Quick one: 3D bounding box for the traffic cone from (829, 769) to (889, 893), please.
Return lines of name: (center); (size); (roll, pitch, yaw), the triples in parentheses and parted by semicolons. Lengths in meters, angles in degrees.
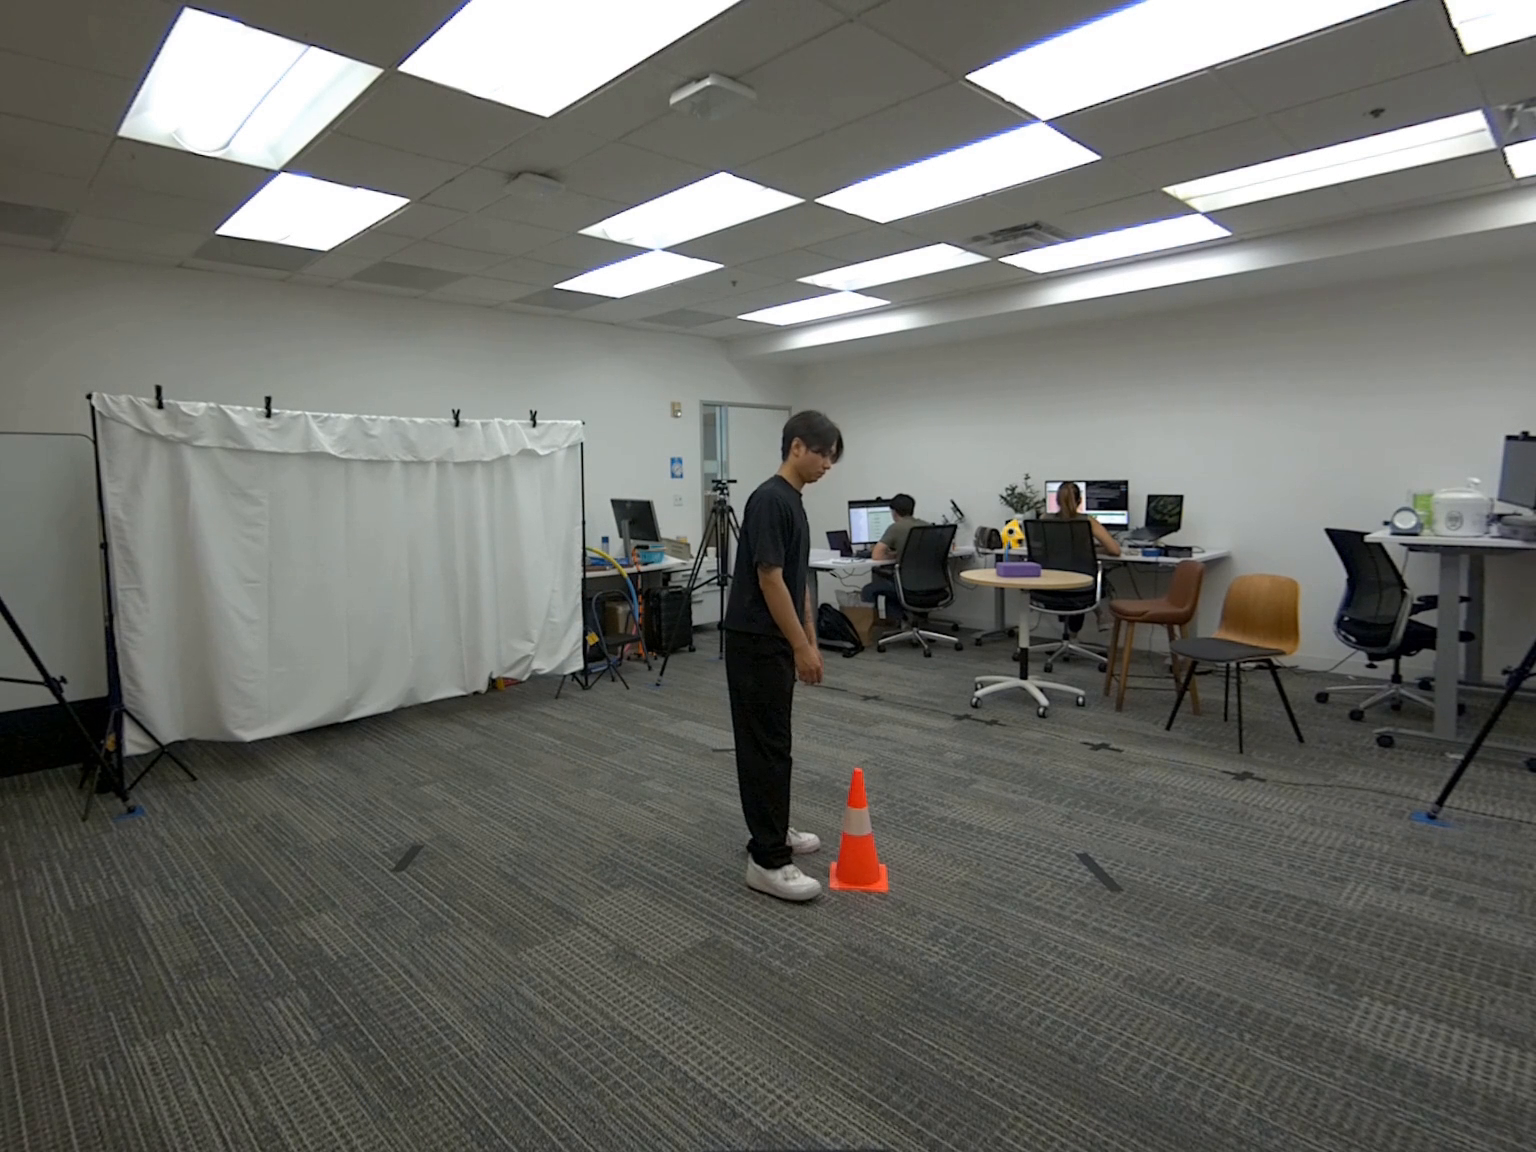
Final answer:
traffic cone: (0.310, 0.866, 2.973); (0.205, 0.382, 0.204); (-2, 5, 8)
